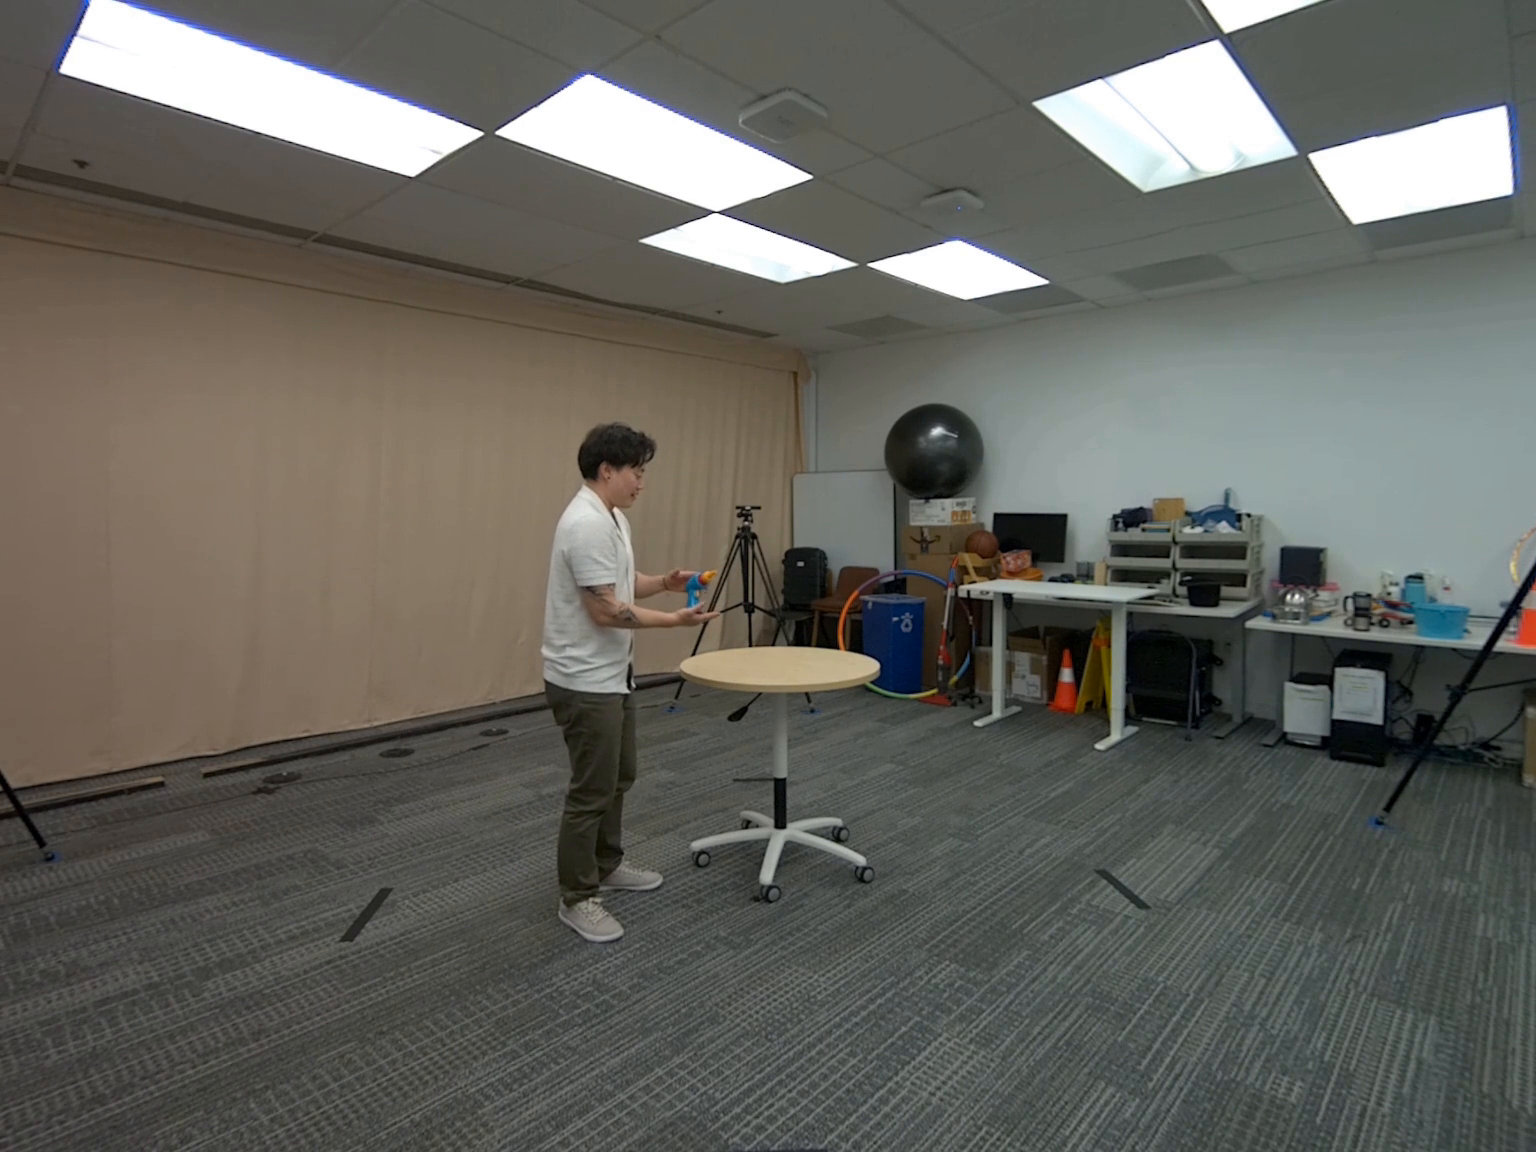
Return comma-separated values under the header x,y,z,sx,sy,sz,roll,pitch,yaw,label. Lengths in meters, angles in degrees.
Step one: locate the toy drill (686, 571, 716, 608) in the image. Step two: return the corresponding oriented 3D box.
x,y,z,sx,sy,sz,roll,pitch,yaw,label
-0.221,0.053,2.775,0.059,0.148,0.173,21,-35,-34,toy drill
